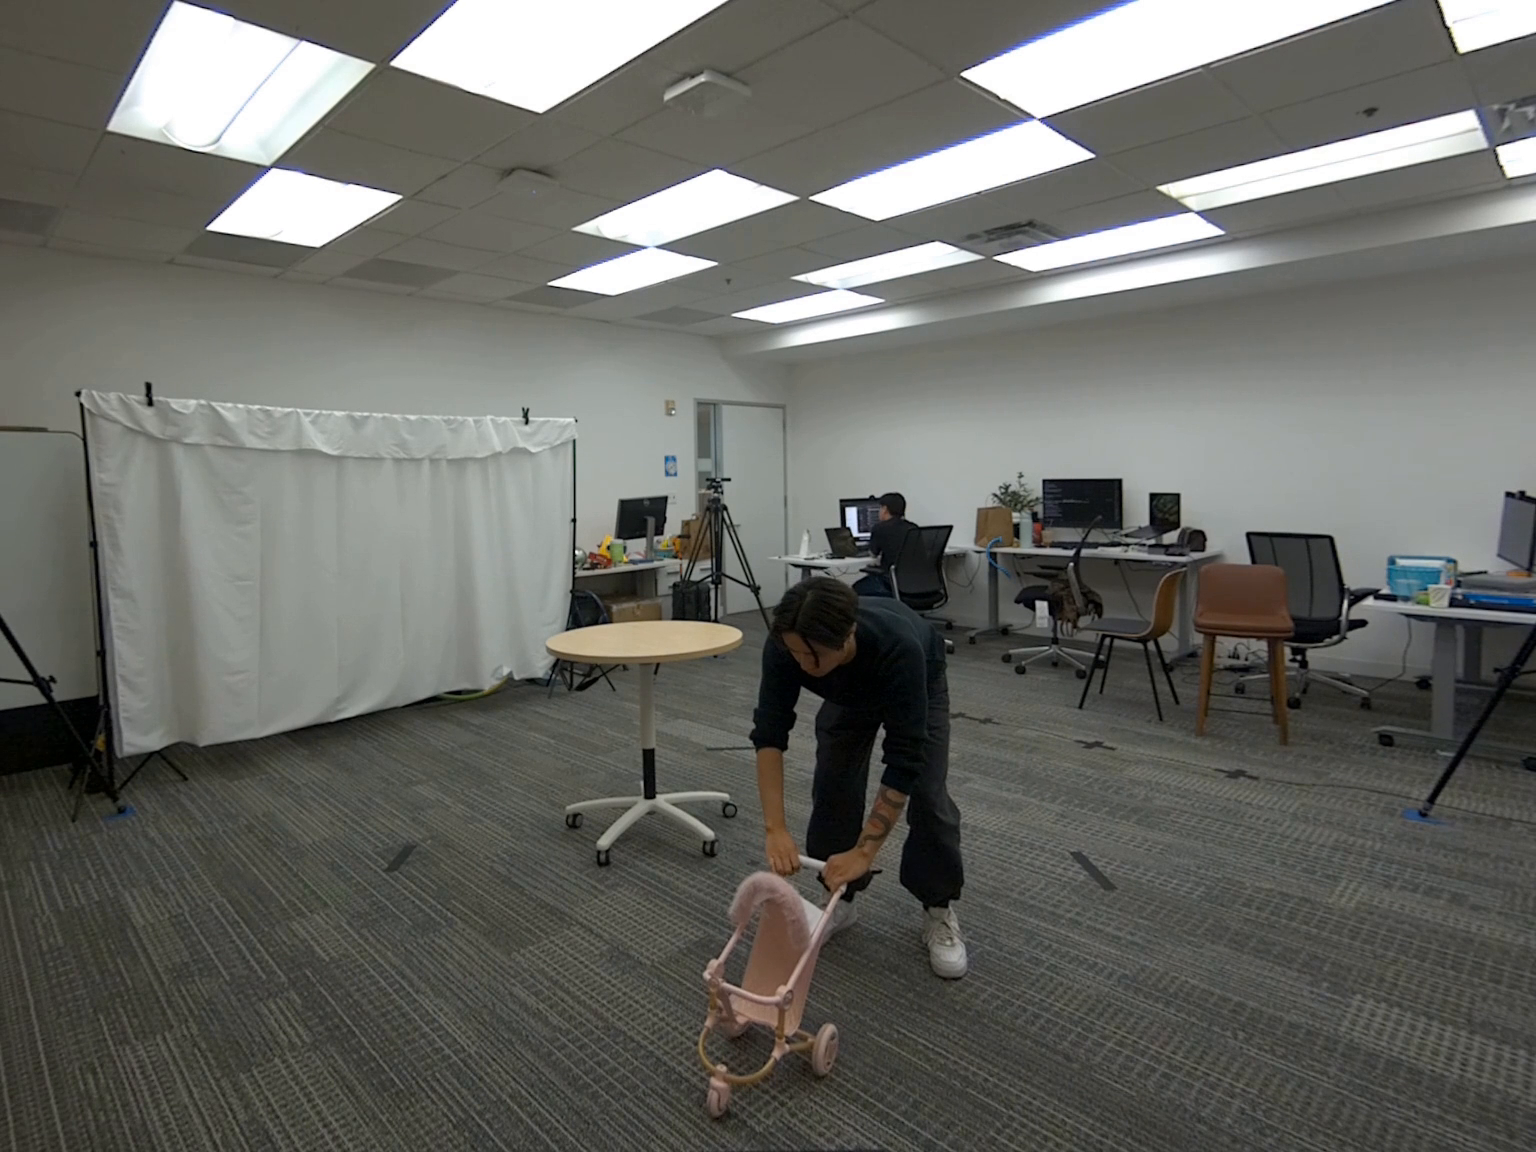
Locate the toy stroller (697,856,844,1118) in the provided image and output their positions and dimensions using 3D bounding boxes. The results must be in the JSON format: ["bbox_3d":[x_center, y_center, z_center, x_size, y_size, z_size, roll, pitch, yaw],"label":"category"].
[{"bbox_3d":[0.003,0.945,2.023,0.290,0.539,0.329,1,-13,38],"label":"toy stroller"}]
